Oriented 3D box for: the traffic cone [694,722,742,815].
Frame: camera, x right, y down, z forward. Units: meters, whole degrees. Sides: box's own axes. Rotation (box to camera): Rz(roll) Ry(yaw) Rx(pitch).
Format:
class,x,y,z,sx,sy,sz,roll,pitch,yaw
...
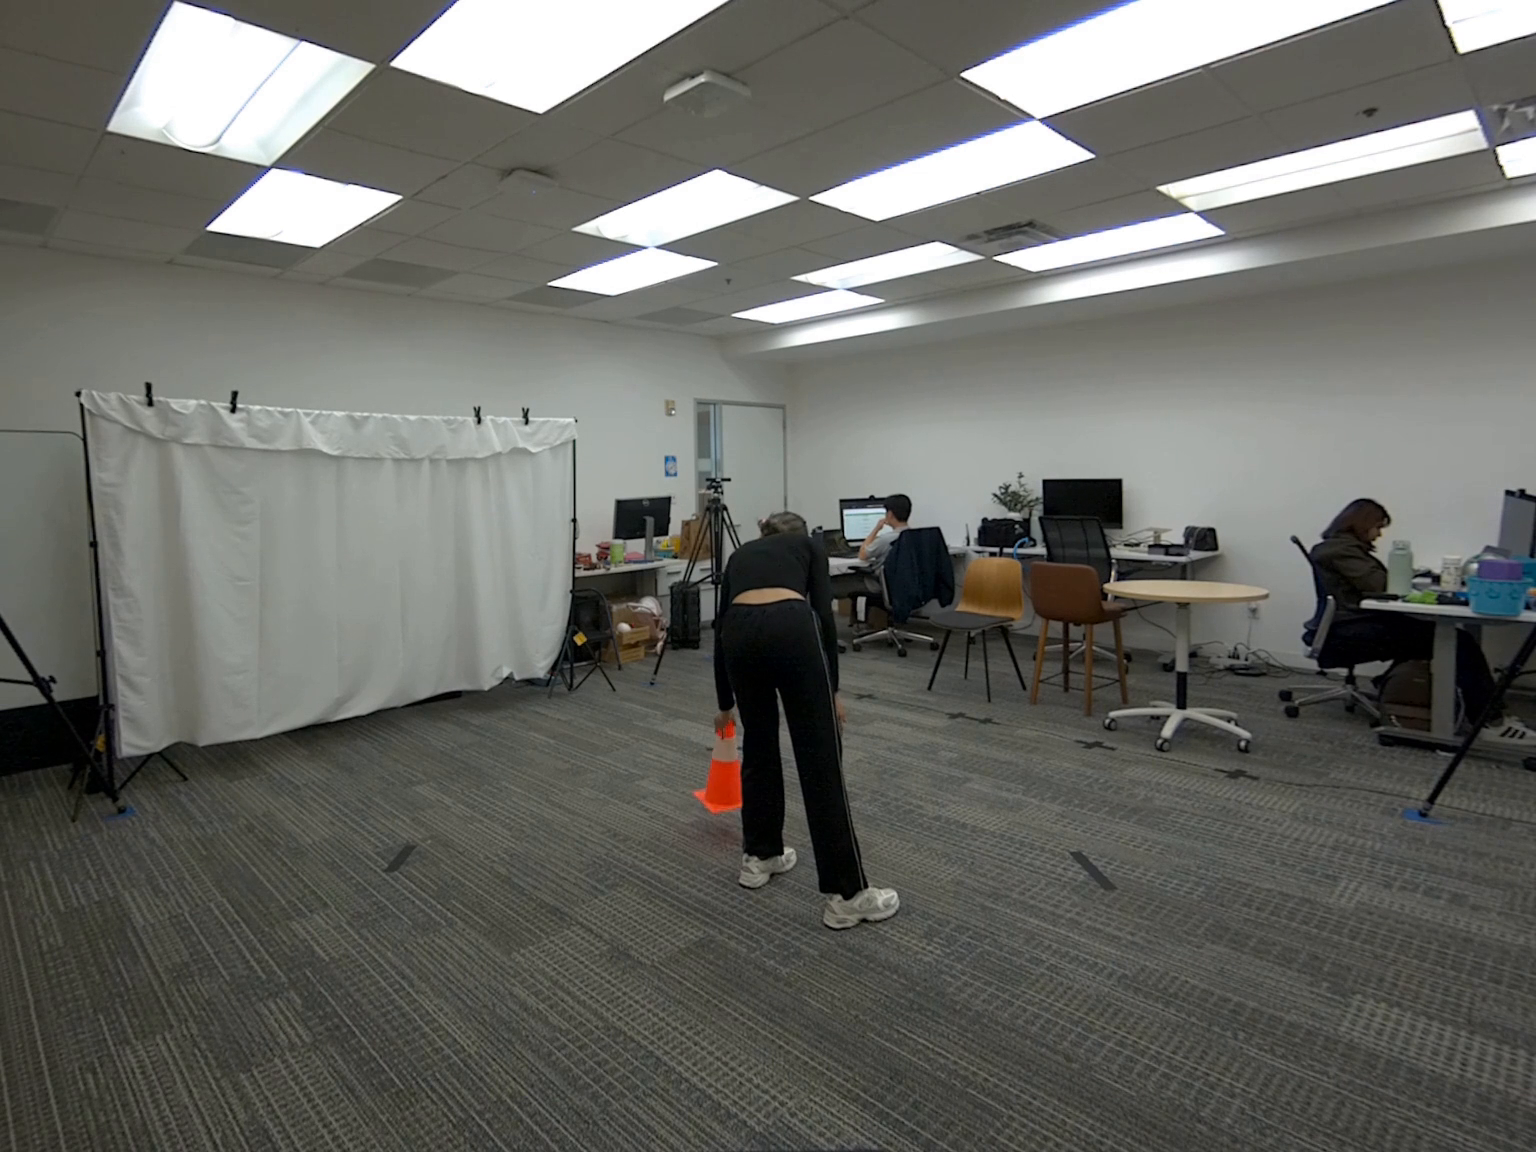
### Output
class,x,y,z,sx,sy,sz,roll,pitch,yaw
traffic cone,-0.156,0.680,3.312,0.200,0.382,0.209,-1,6,-26
